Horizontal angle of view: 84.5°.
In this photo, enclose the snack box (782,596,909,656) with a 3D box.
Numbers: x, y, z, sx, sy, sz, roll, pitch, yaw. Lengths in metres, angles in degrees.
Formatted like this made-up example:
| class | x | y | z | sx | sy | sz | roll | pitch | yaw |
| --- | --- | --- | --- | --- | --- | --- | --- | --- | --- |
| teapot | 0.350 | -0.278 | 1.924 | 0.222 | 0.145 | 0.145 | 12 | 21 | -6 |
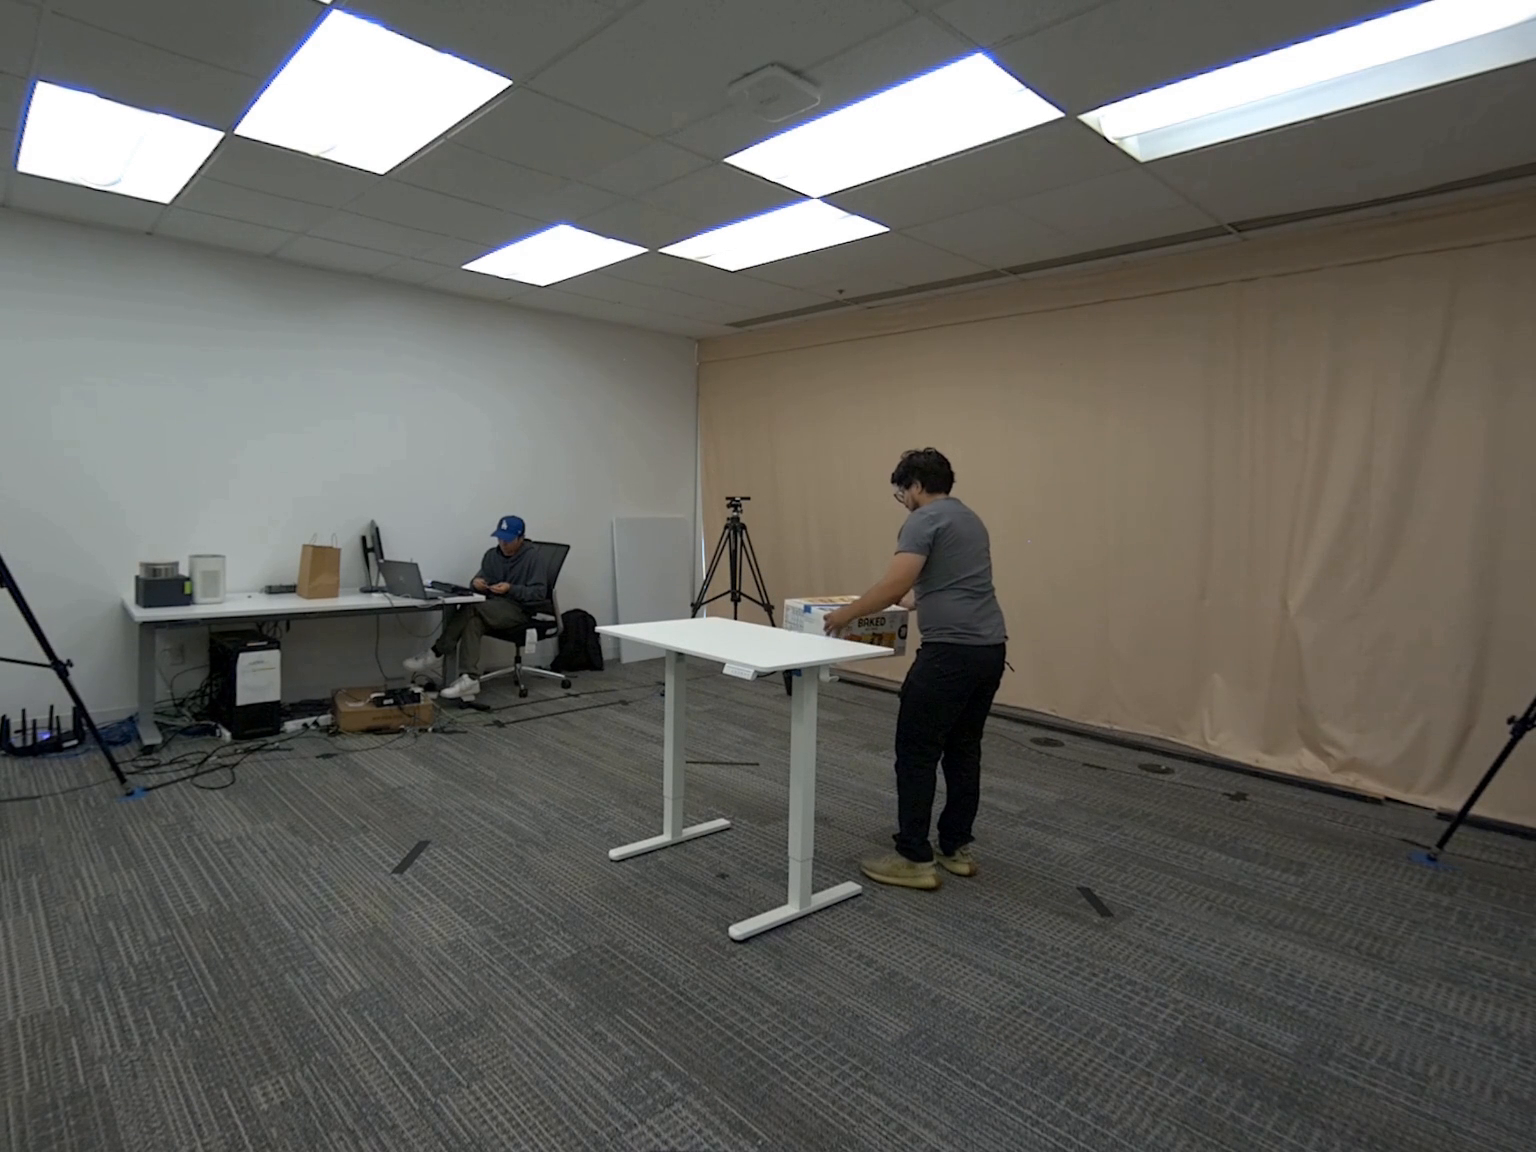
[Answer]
| class | x | y | z | sx | sy | sz | roll | pitch | yaw |
| --- | --- | --- | --- | --- | --- | --- | --- | --- | --- |
| snack box | 0.319 | 0.223 | 3.571 | 0.397 | 0.205 | 0.349 | -2 | 8 | -33 |
